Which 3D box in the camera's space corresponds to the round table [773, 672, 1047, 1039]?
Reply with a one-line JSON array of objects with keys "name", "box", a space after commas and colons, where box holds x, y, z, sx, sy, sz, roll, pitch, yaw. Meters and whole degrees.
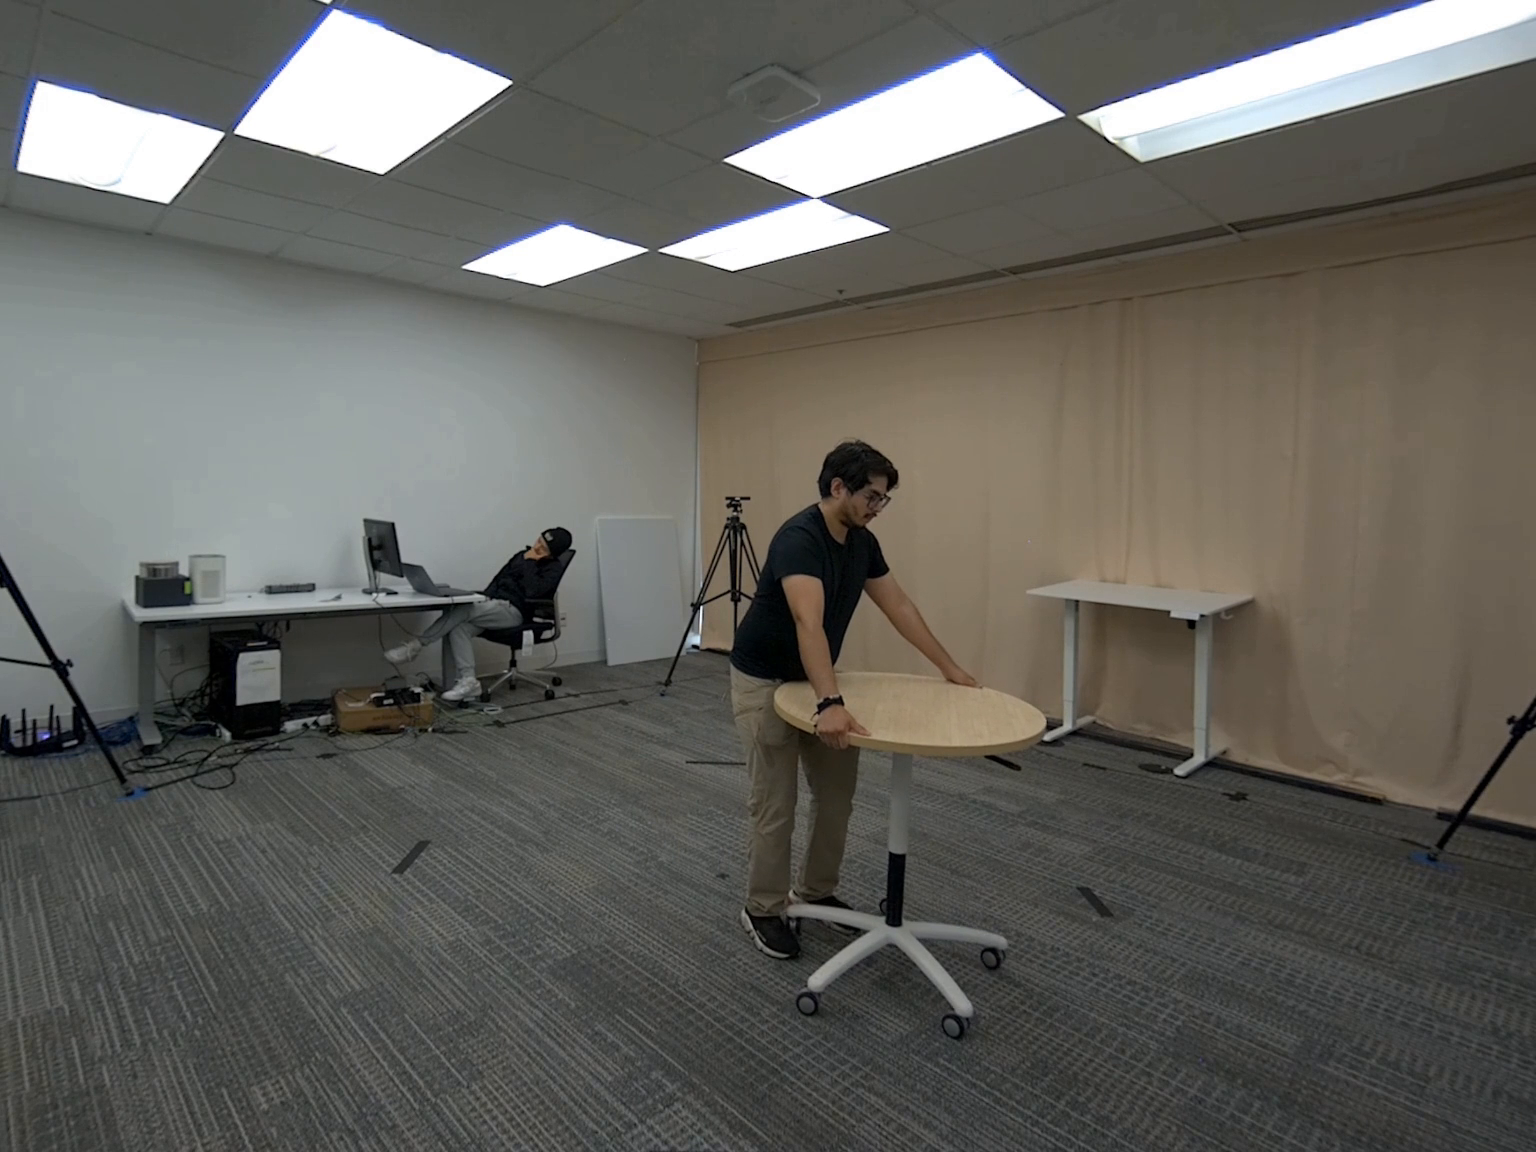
[{"name": "round table", "box": [0.387, 0.764, 2.477, 0.784, 0.784, 0.789, 3, 5, -2]}]
